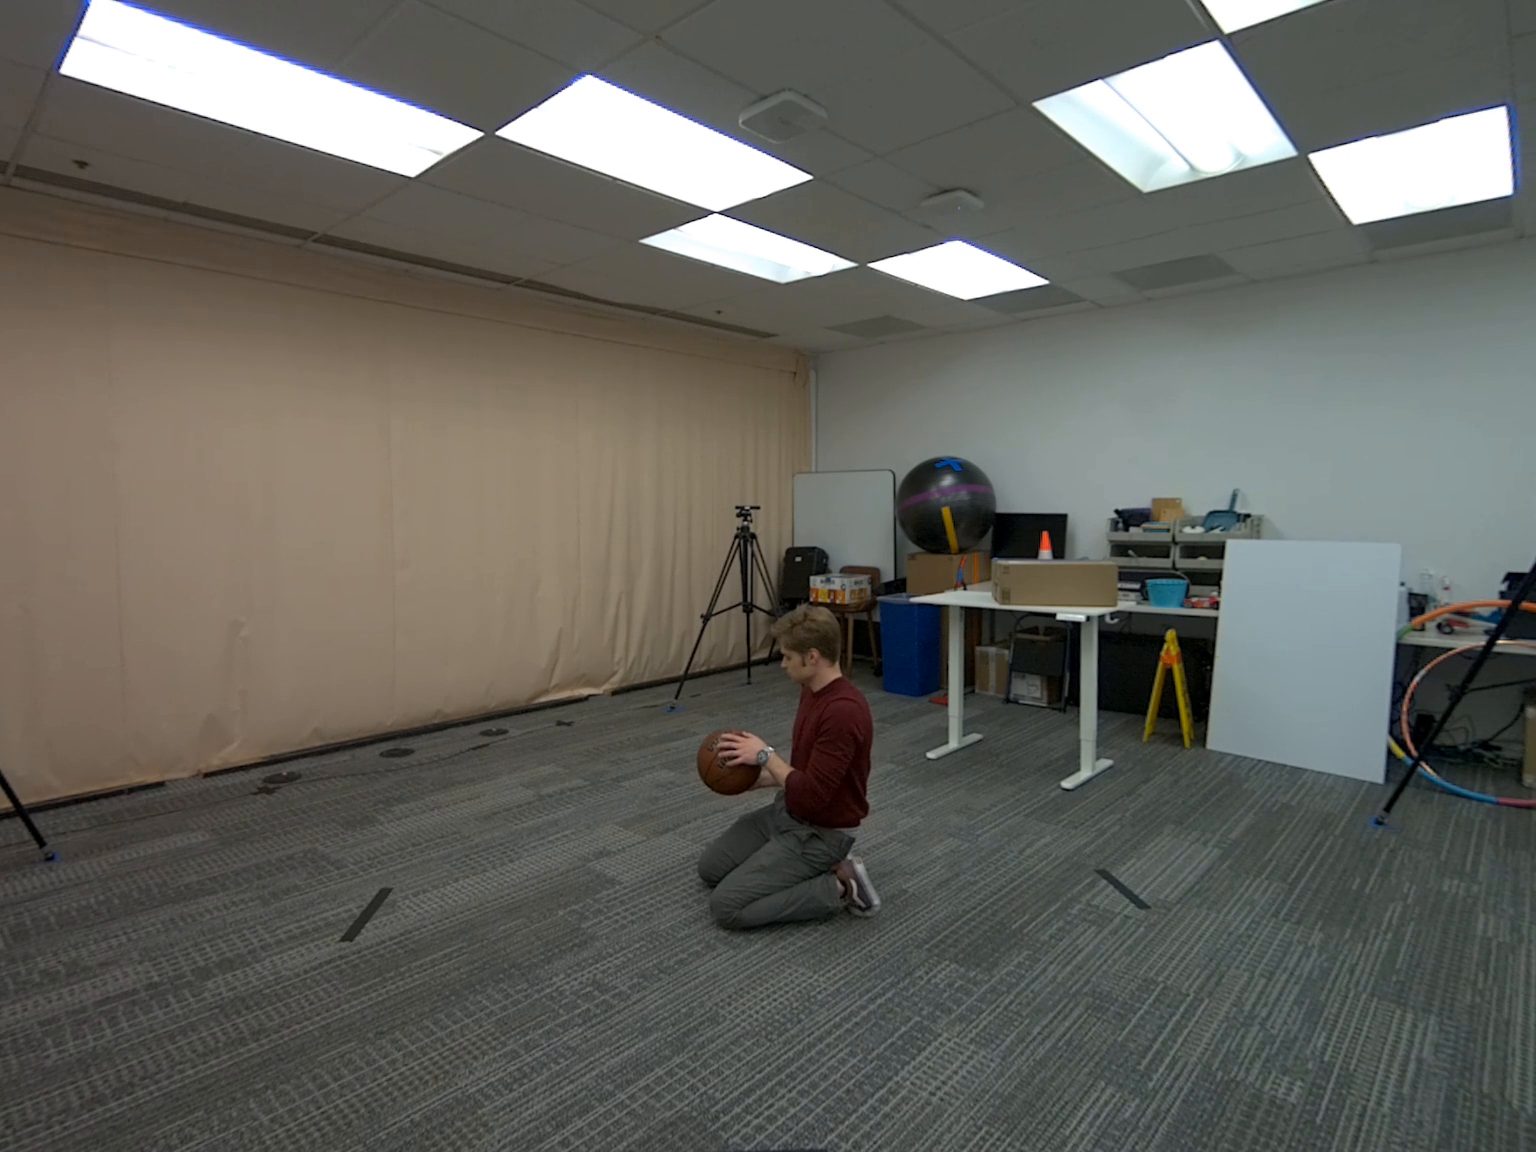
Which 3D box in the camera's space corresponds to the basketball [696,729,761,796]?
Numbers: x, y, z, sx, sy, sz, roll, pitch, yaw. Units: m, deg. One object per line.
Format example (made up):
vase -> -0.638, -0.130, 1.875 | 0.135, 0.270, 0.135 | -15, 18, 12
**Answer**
basketball -> -0.129, 0.673, 3.043 | 0.236, 0.235, 0.237 | 0, 4, -2
